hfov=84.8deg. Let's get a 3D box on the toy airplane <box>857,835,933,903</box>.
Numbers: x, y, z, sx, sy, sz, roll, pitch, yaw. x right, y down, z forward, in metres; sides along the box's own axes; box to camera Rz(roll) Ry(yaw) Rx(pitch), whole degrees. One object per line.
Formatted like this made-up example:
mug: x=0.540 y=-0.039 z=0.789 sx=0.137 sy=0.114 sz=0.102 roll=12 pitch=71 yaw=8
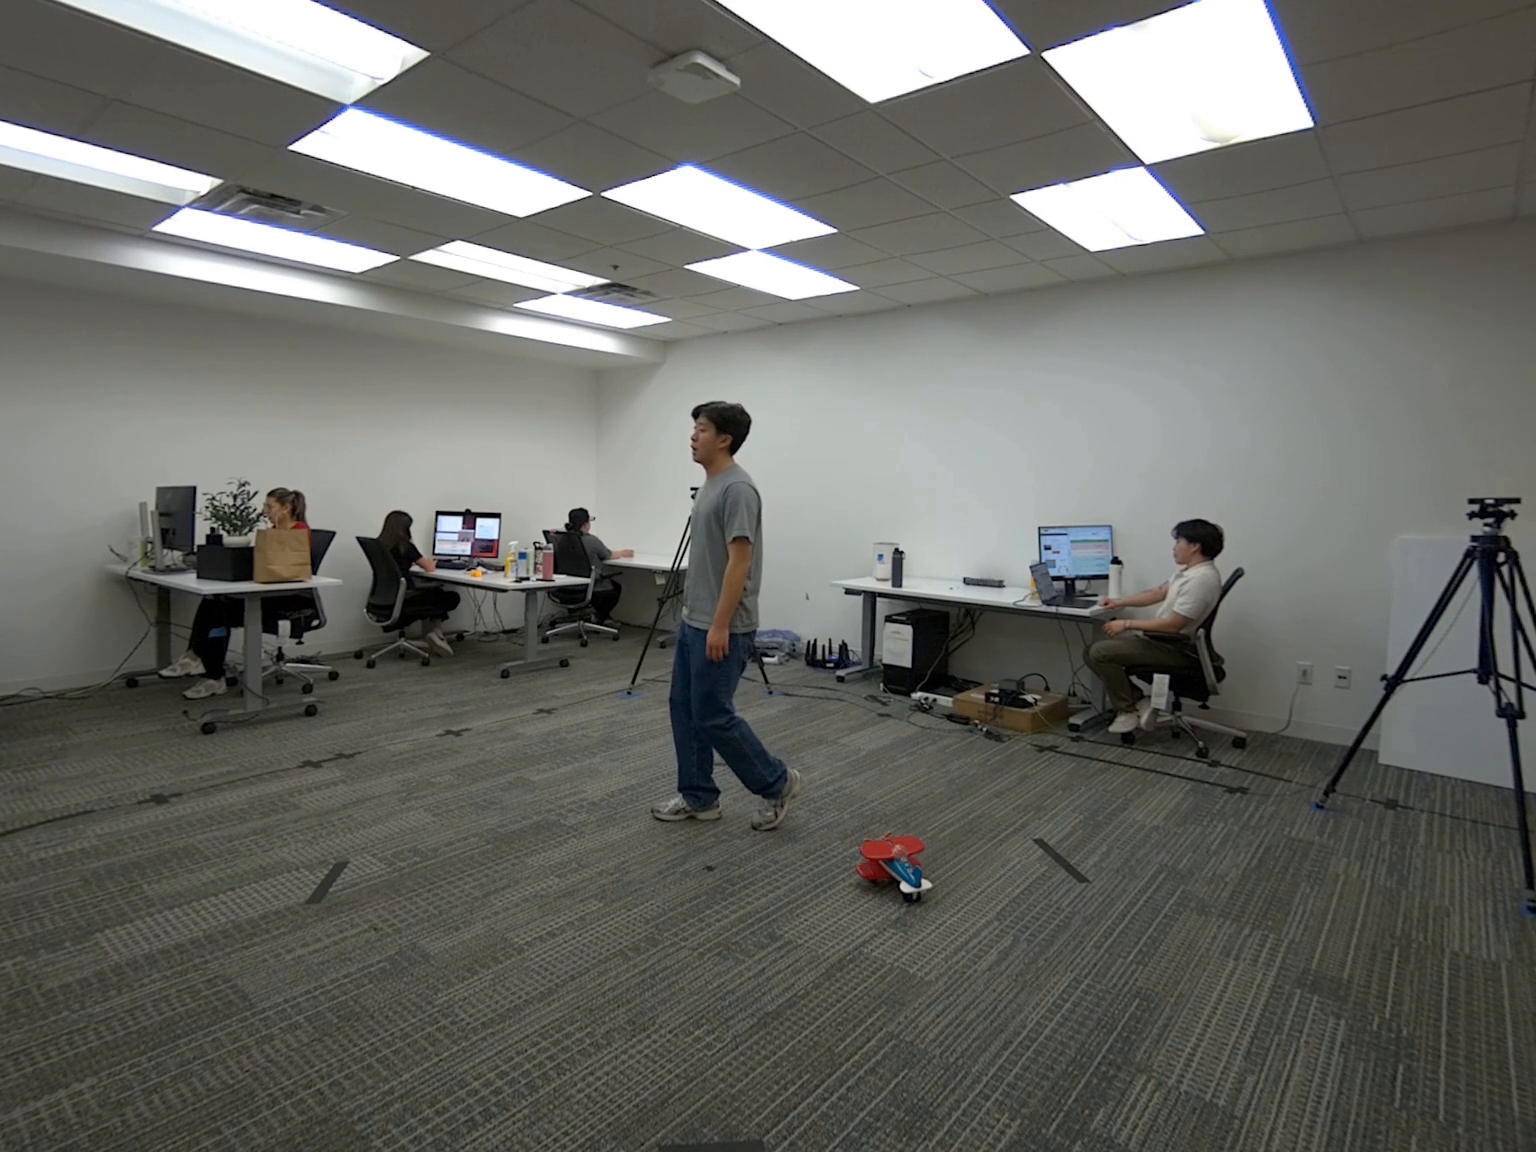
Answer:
toy airplane: x=0.463 y=1.022 z=2.986 sx=0.268 sy=0.156 sz=0.244 roll=4 pitch=6 yaw=36
